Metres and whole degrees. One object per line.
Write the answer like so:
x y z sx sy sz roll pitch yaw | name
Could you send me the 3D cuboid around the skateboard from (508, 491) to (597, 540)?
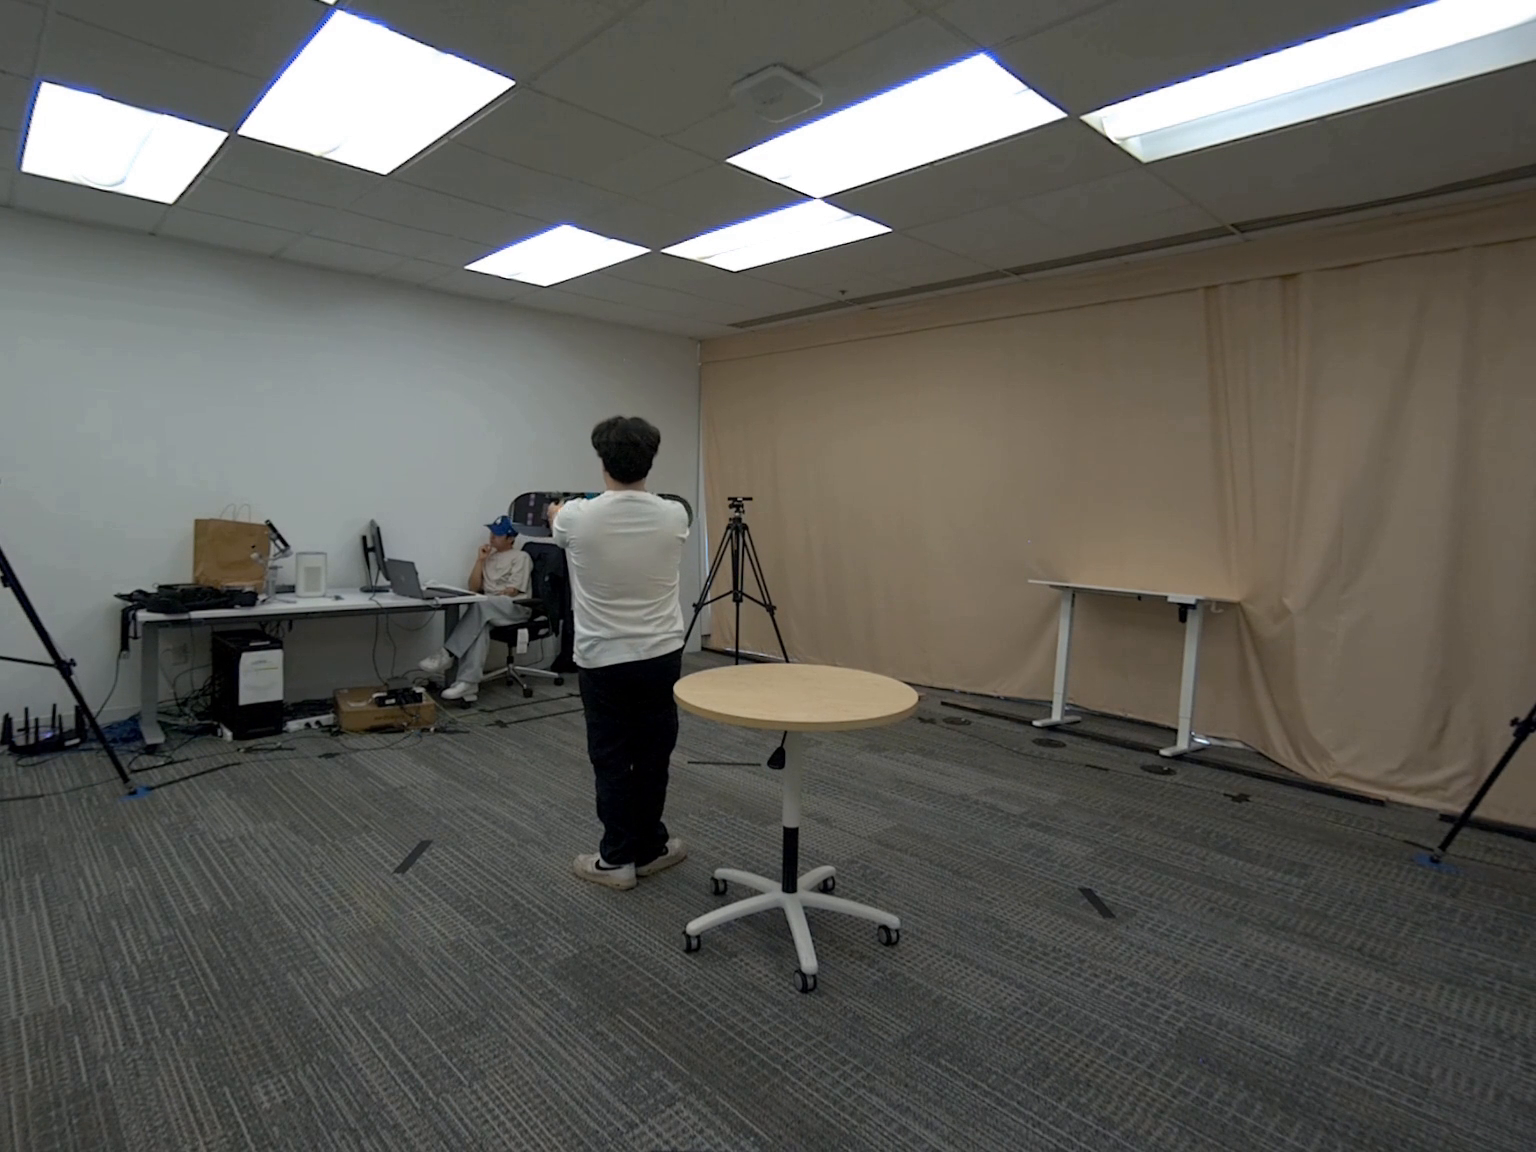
-0.685 -0.251 3.548 0.775 0.193 0.112 -1 0 -17 | skateboard
